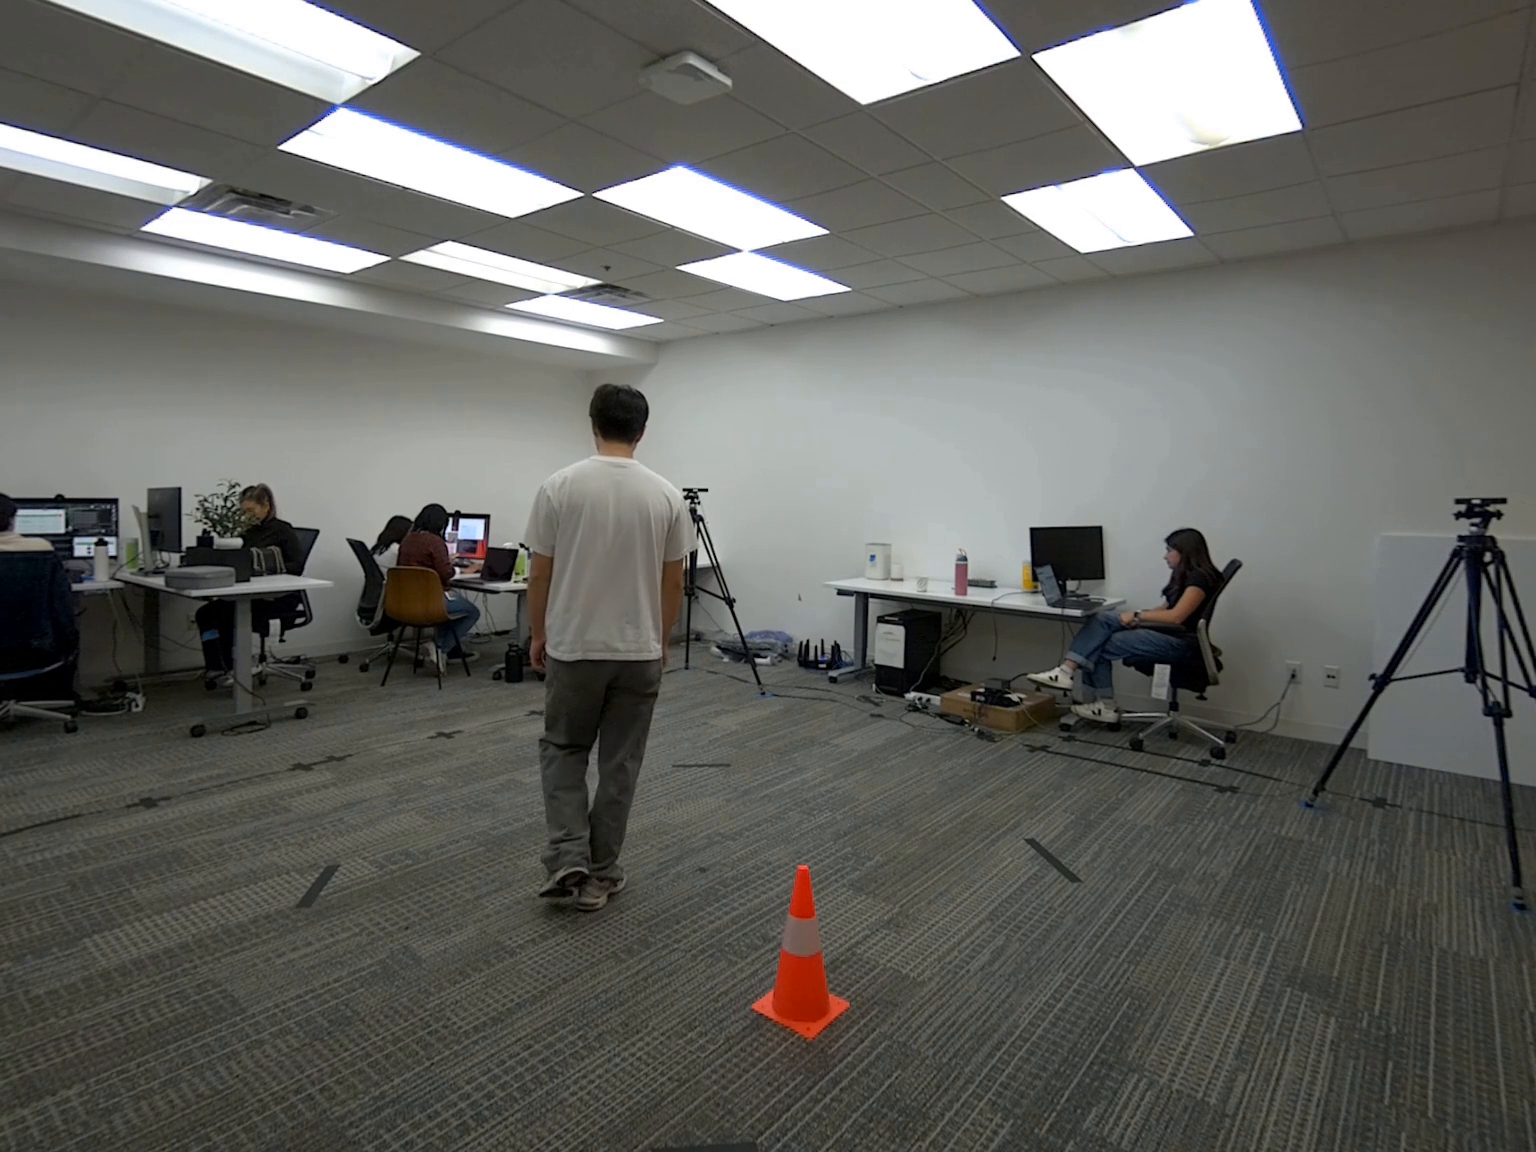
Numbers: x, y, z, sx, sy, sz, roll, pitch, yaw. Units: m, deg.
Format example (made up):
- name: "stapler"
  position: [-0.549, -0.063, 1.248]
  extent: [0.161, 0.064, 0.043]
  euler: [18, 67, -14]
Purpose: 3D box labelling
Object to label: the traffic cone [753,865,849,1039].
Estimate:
- name: "traffic cone"
  position: [0.094, 0.970, 2.279]
  extent: [0.212, 0.382, 0.197]
  euler: [5, 7, 44]
